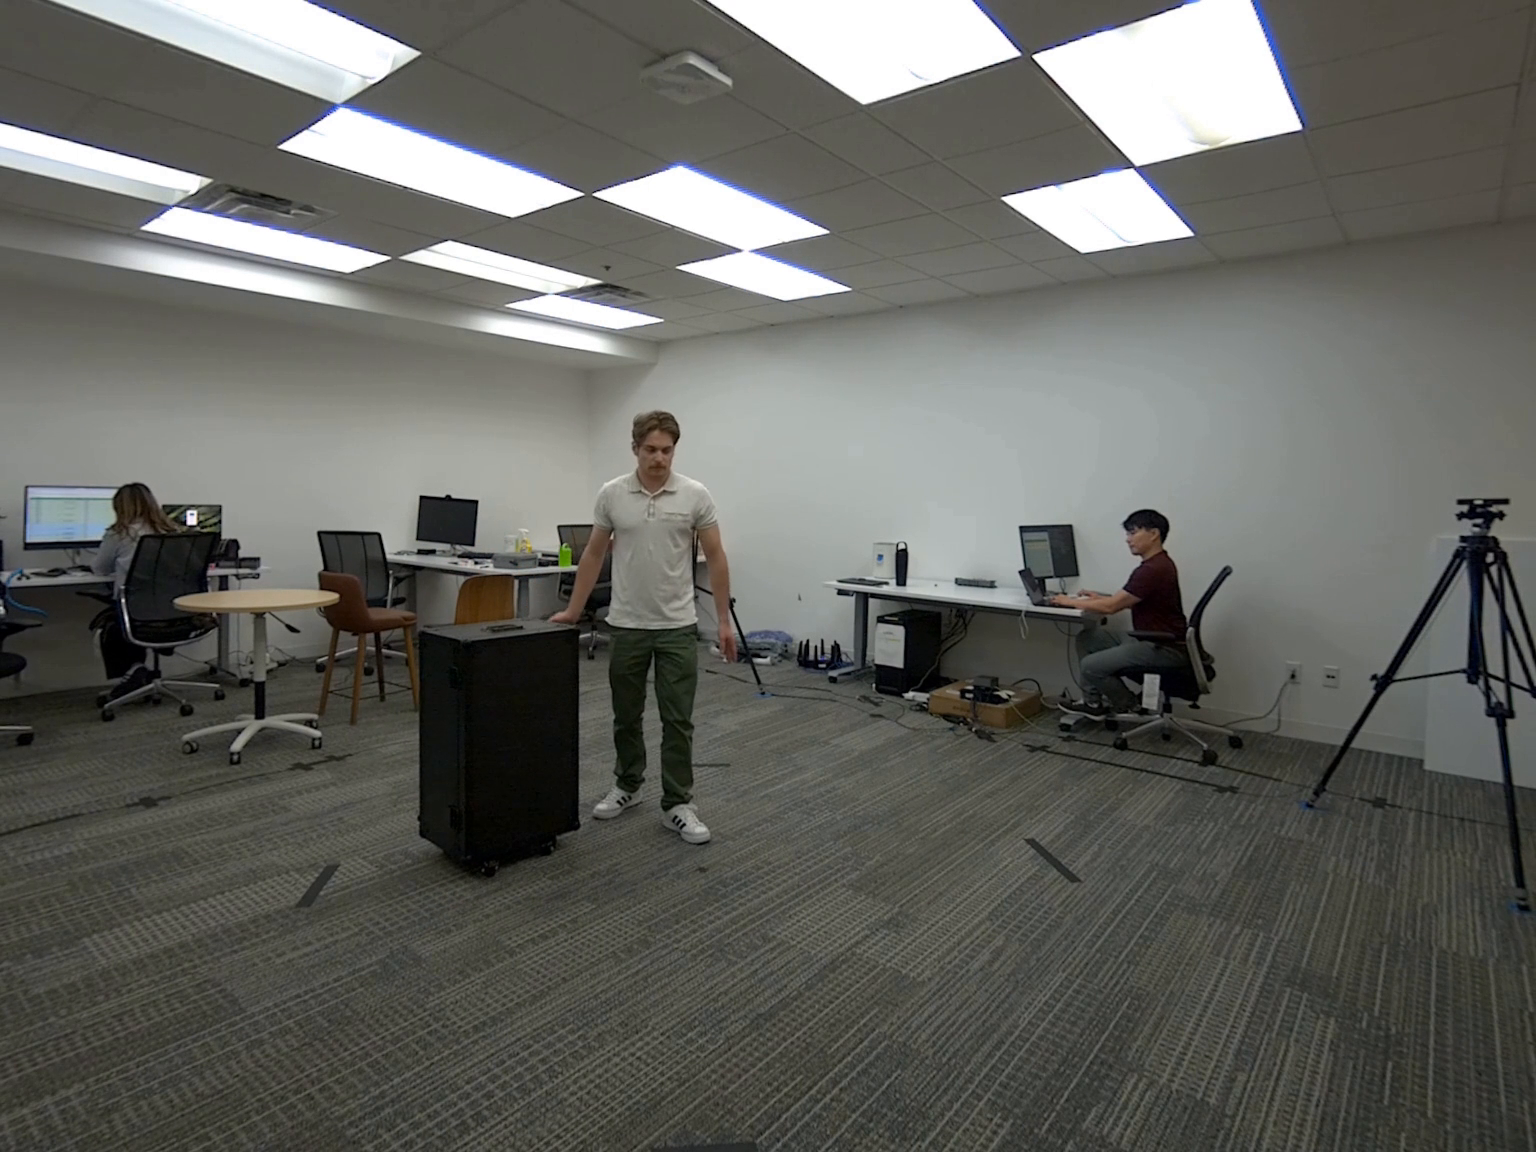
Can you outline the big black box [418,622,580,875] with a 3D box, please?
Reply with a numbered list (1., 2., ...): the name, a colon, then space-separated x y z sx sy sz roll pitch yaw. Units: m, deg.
1. big black box: -1.035 0.623 3.214 0.398 0.867 0.507 3 3 43
